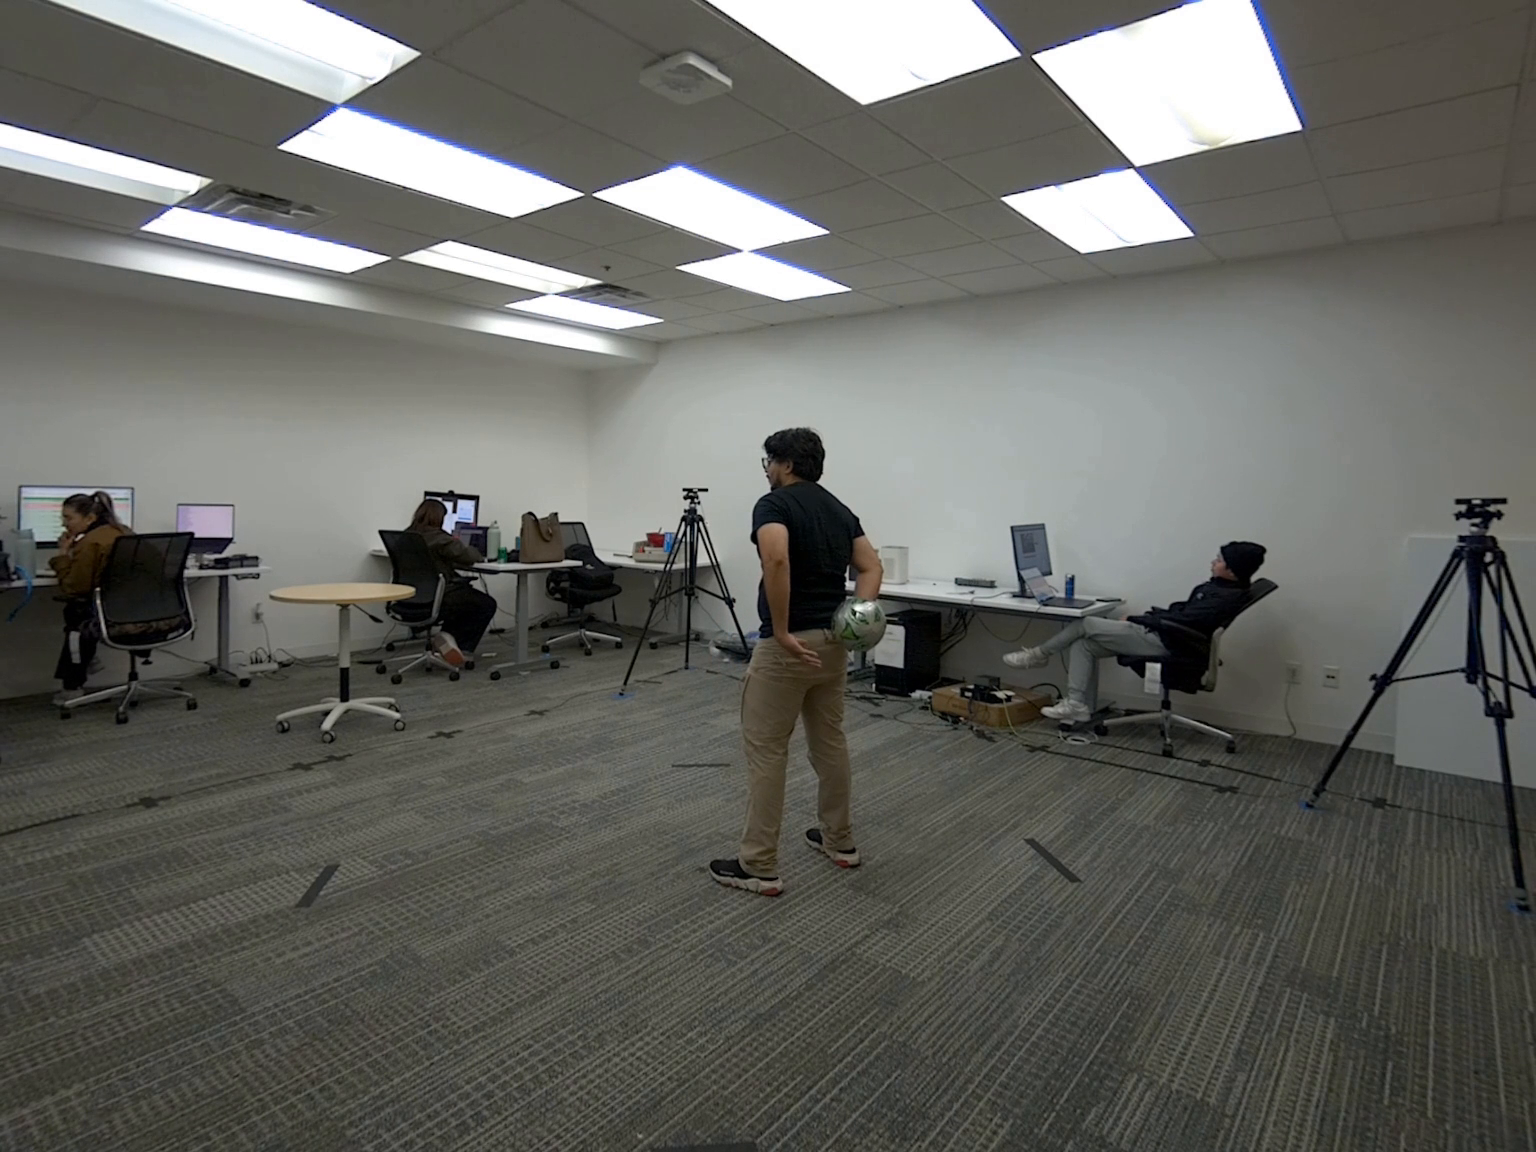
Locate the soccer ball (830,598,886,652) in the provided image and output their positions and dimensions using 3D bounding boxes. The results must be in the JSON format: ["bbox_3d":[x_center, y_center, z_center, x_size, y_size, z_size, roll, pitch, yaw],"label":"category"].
[{"bbox_3d":[0.299,0.161,2.939,0.187,0.187,0.188,1,4,-2],"label":"soccer ball"}]
